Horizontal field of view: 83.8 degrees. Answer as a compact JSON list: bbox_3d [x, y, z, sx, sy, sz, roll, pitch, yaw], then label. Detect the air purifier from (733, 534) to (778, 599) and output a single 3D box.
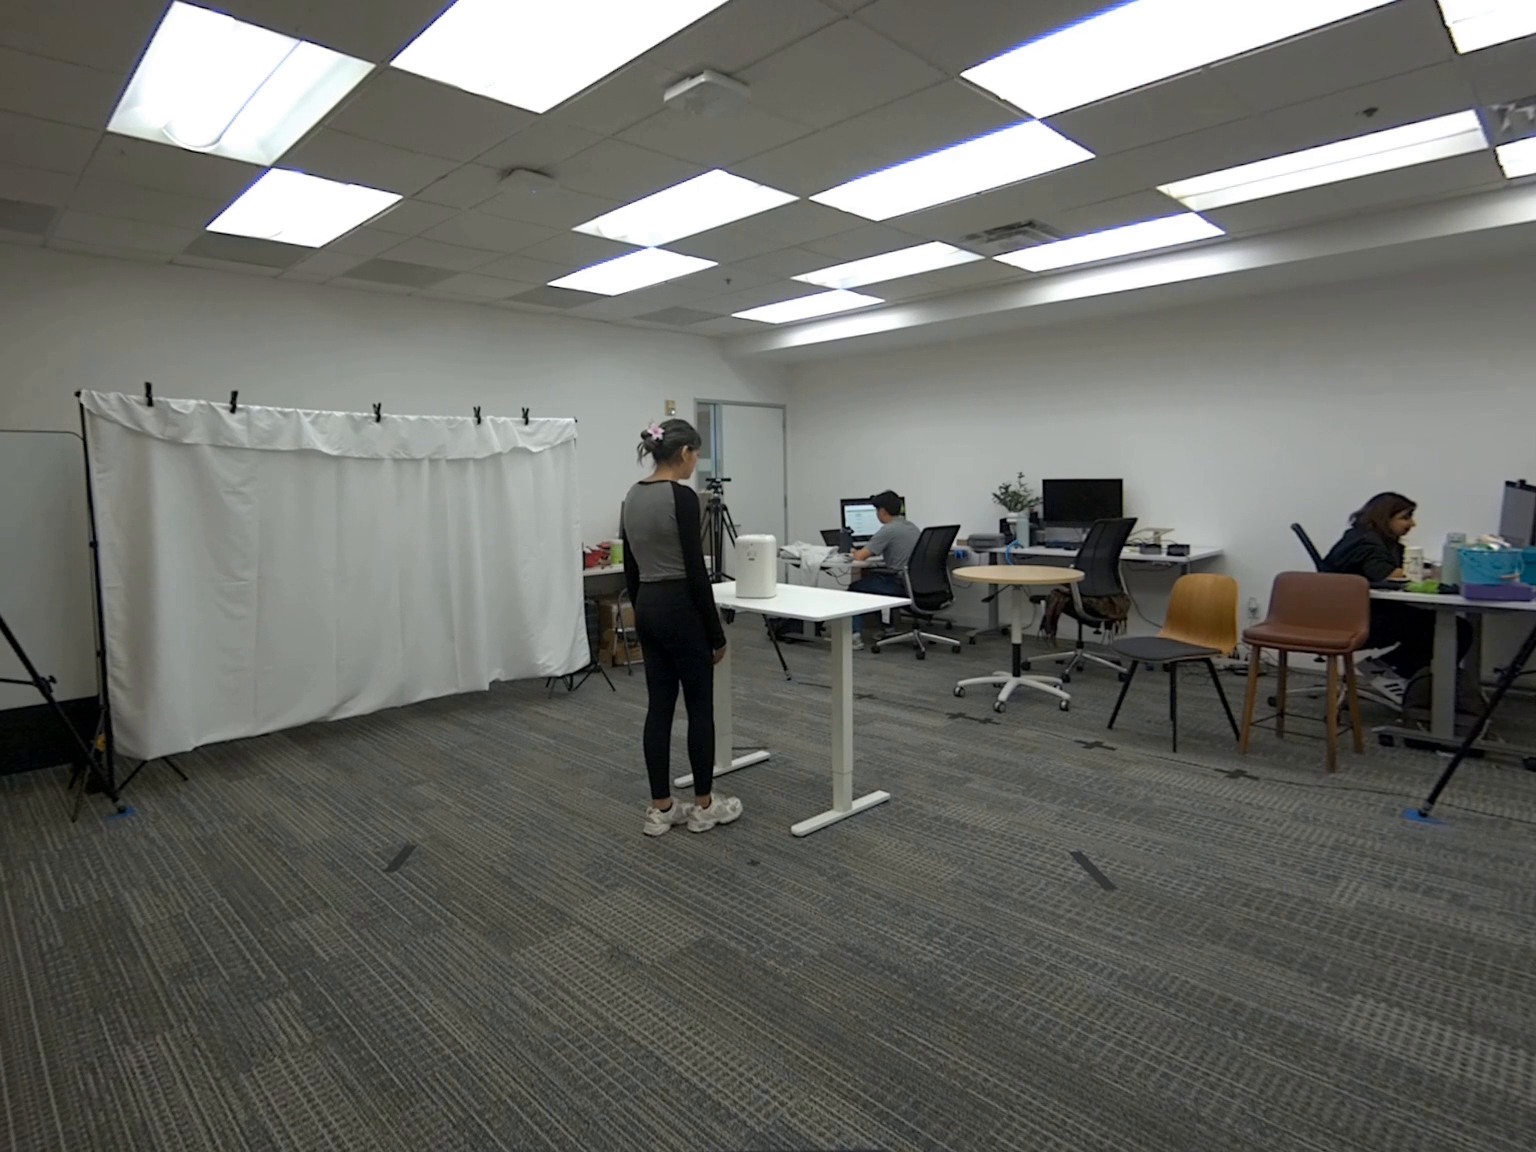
[{"bbox_3d":[-0.053,-0.046,3.744,0.173,0.264,0.170,1,5,14],"label":"air purifier"}]
